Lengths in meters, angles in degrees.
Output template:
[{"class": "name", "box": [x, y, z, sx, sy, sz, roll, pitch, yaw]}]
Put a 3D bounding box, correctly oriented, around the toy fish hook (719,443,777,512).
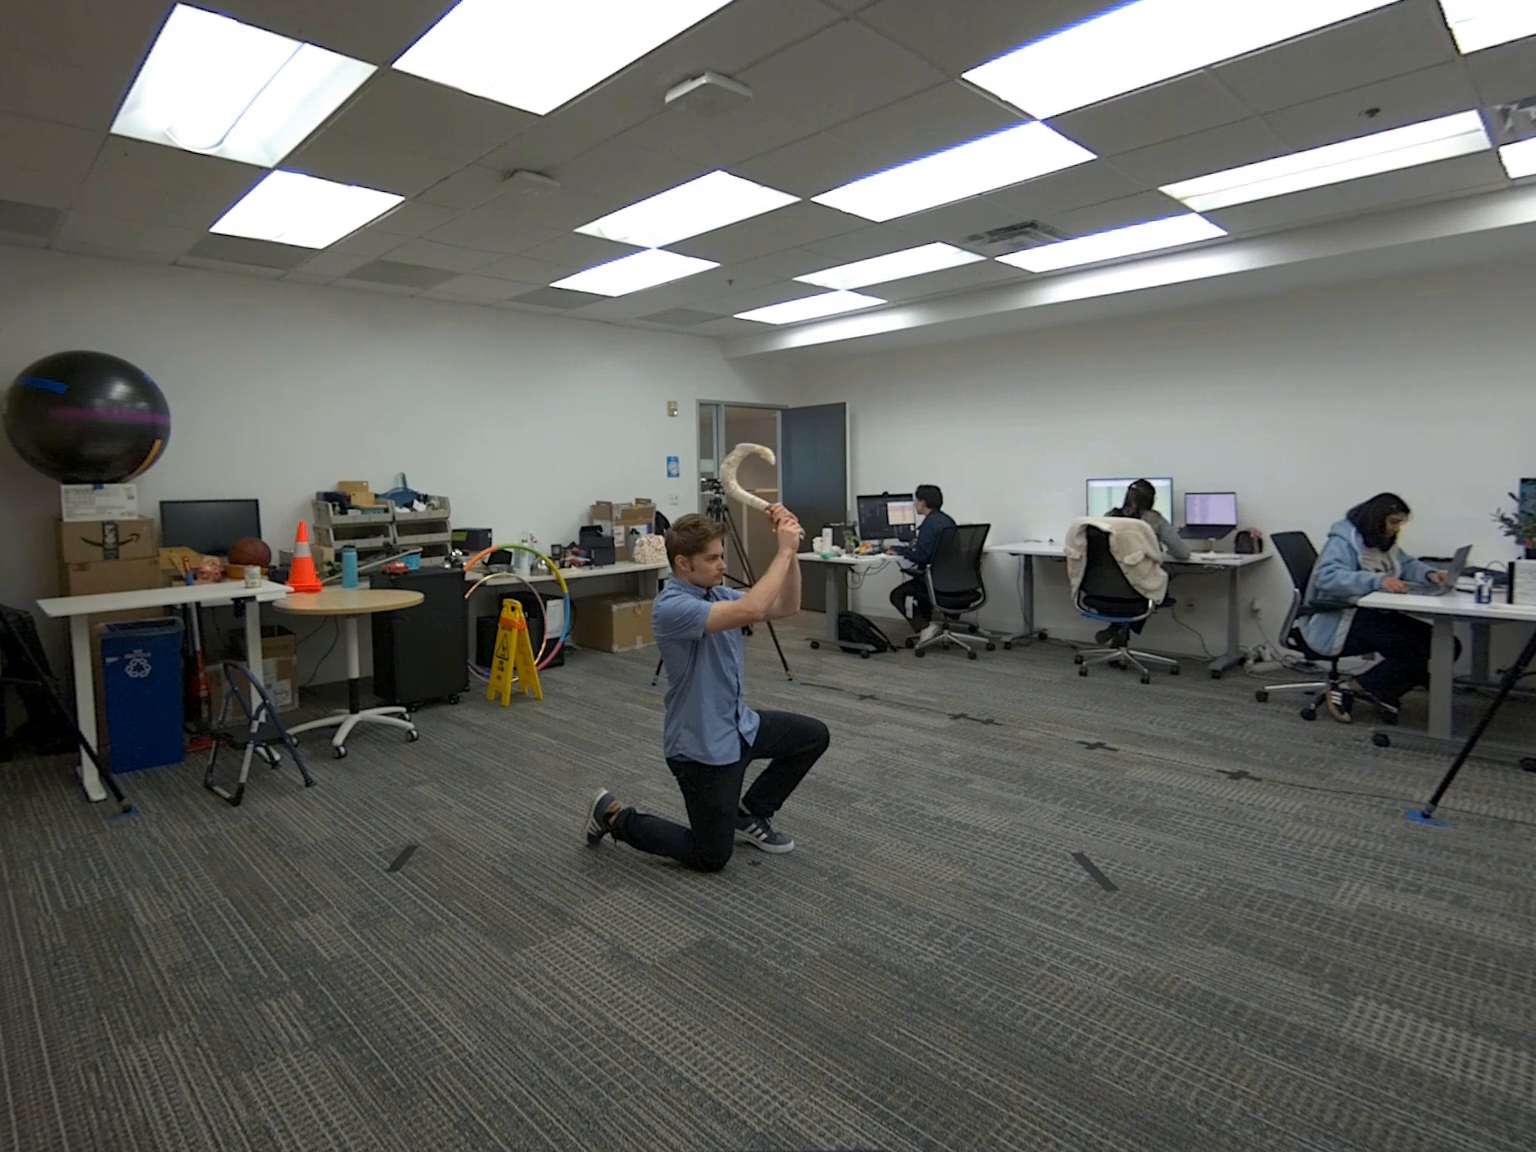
[{"class": "toy fish hook", "box": [0.018, -0.294, 3.112, 0.046, 0.224, 0.526, 21, 21, -53]}]
